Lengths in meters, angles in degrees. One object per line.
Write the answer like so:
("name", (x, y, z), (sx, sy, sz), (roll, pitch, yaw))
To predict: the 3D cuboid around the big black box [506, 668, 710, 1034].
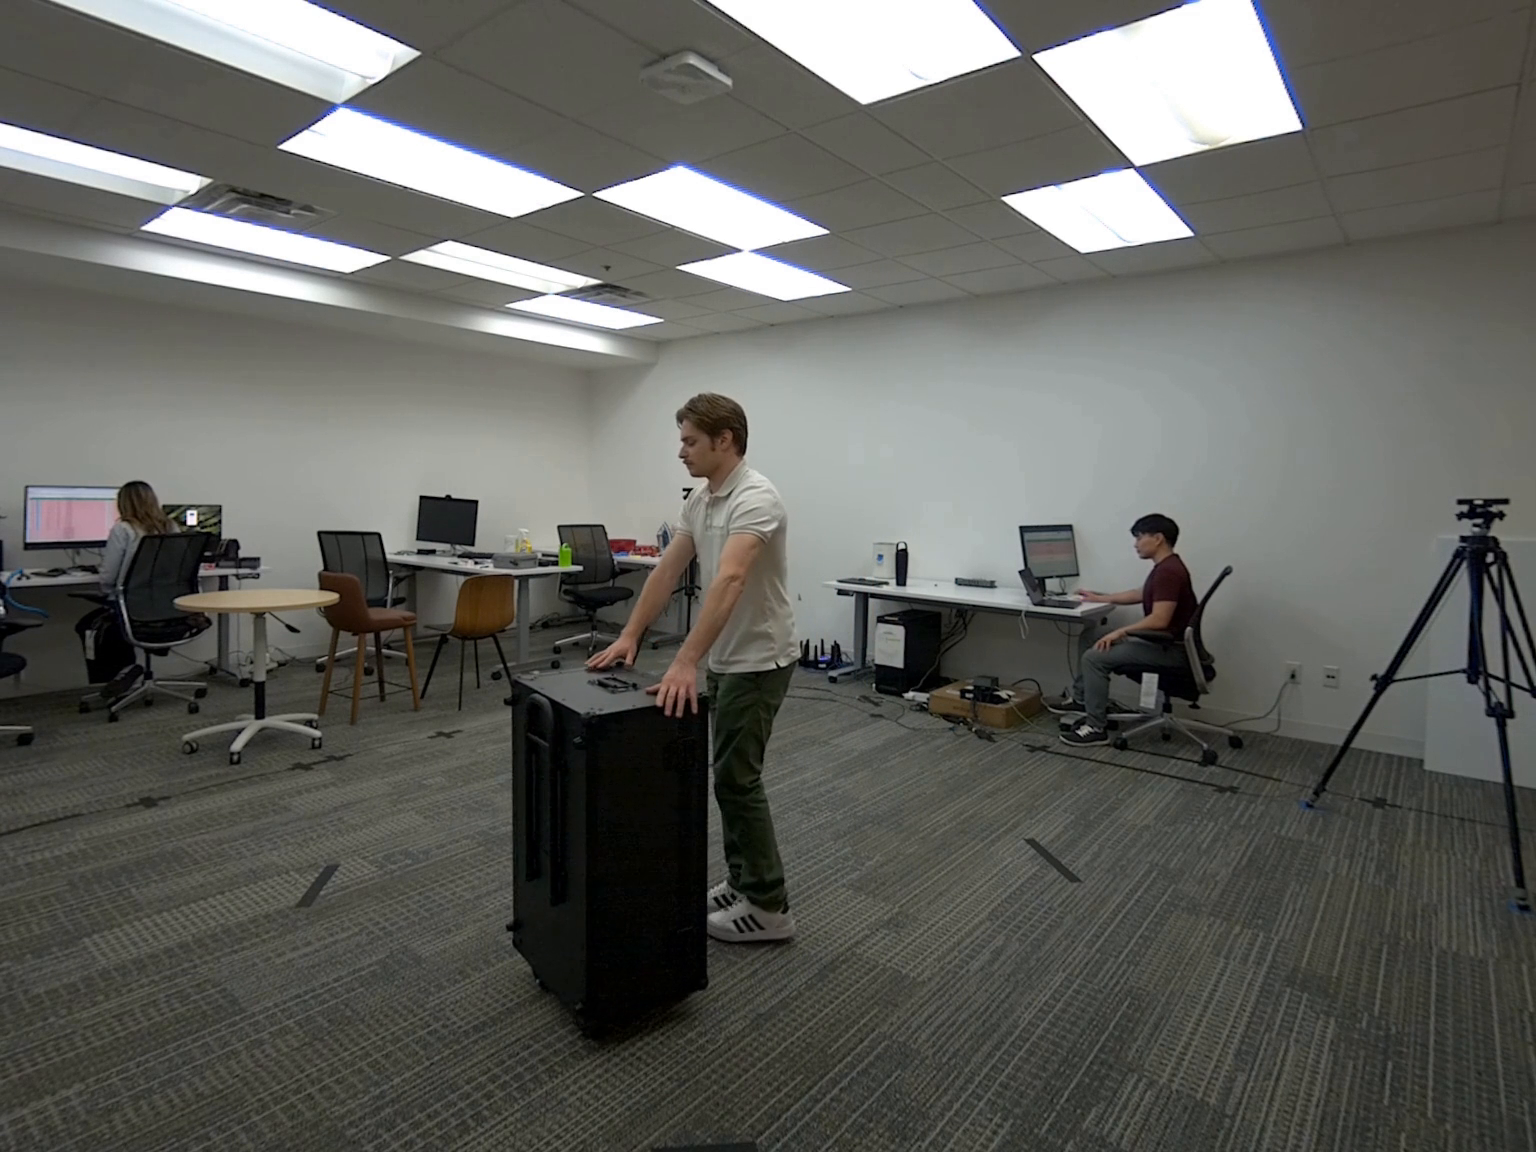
("big black box", (-0.453, 0.729, 2.300), (0.374, 0.865, 0.541), (-3, 5, -39))
